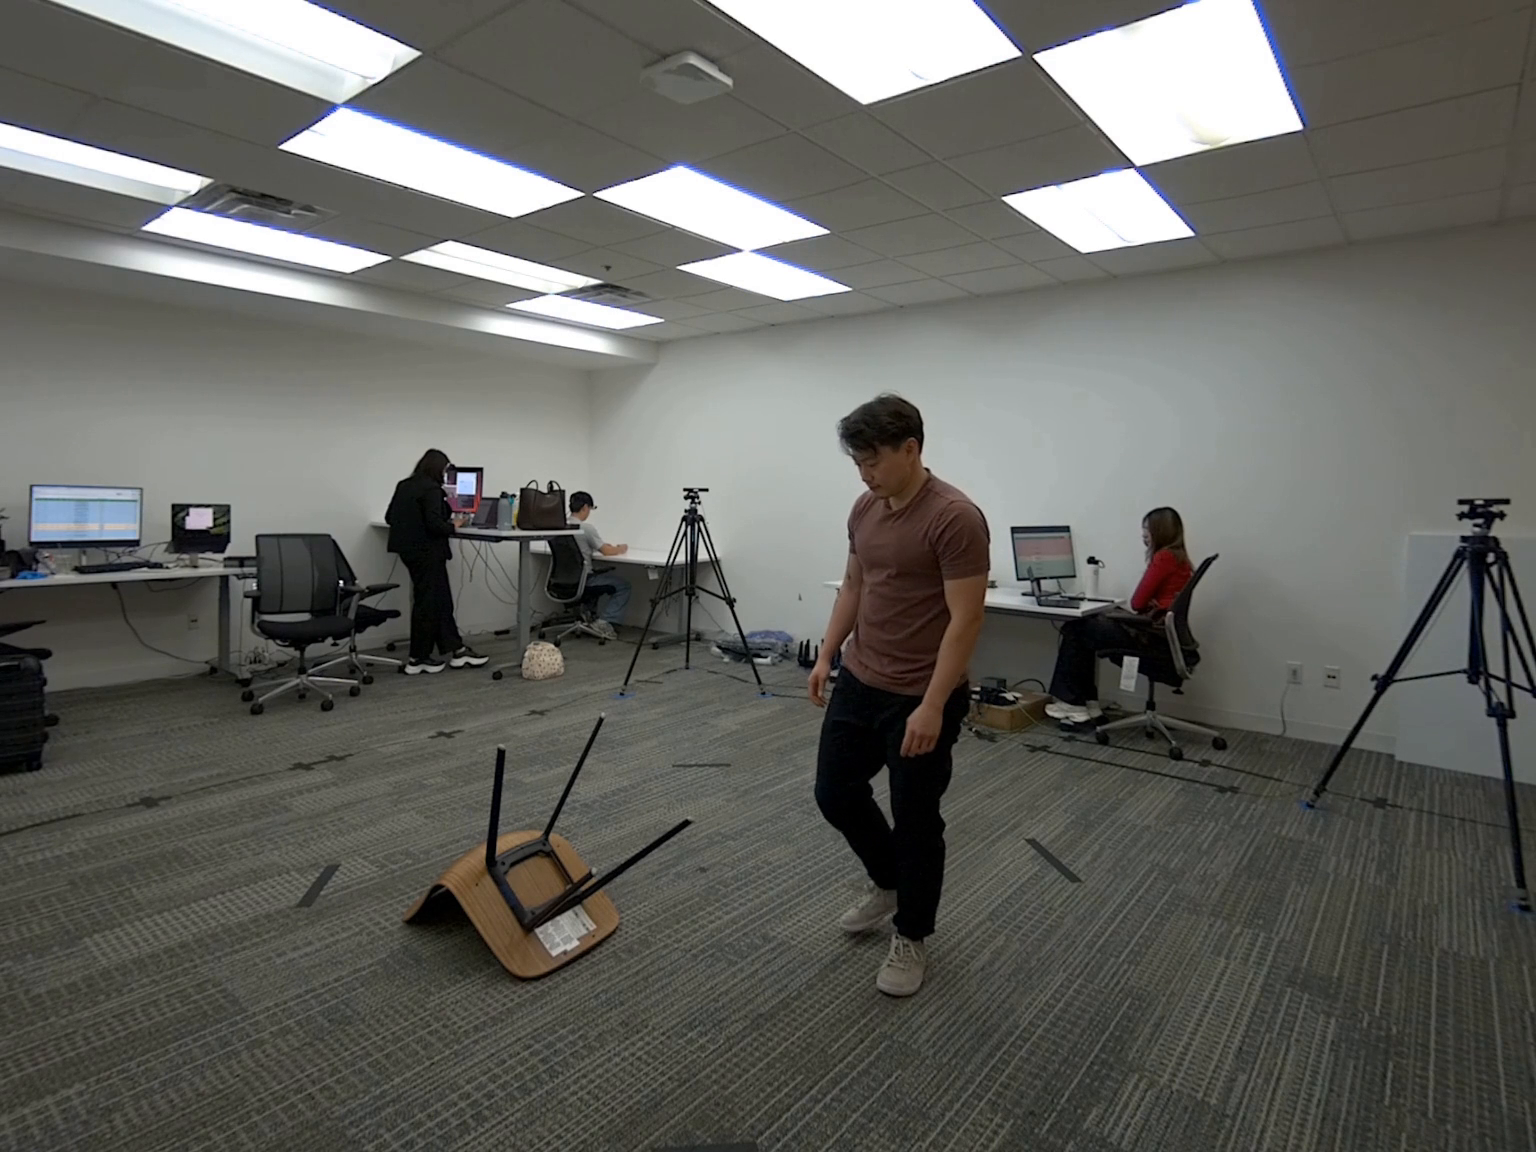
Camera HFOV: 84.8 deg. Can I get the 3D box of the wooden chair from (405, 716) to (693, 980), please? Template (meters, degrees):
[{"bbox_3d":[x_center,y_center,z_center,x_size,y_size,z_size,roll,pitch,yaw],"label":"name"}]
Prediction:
[{"bbox_3d":[-0.719,0.939,2.620,0.539,0.875,0.465,47,24,20],"label":"wooden chair"}]
